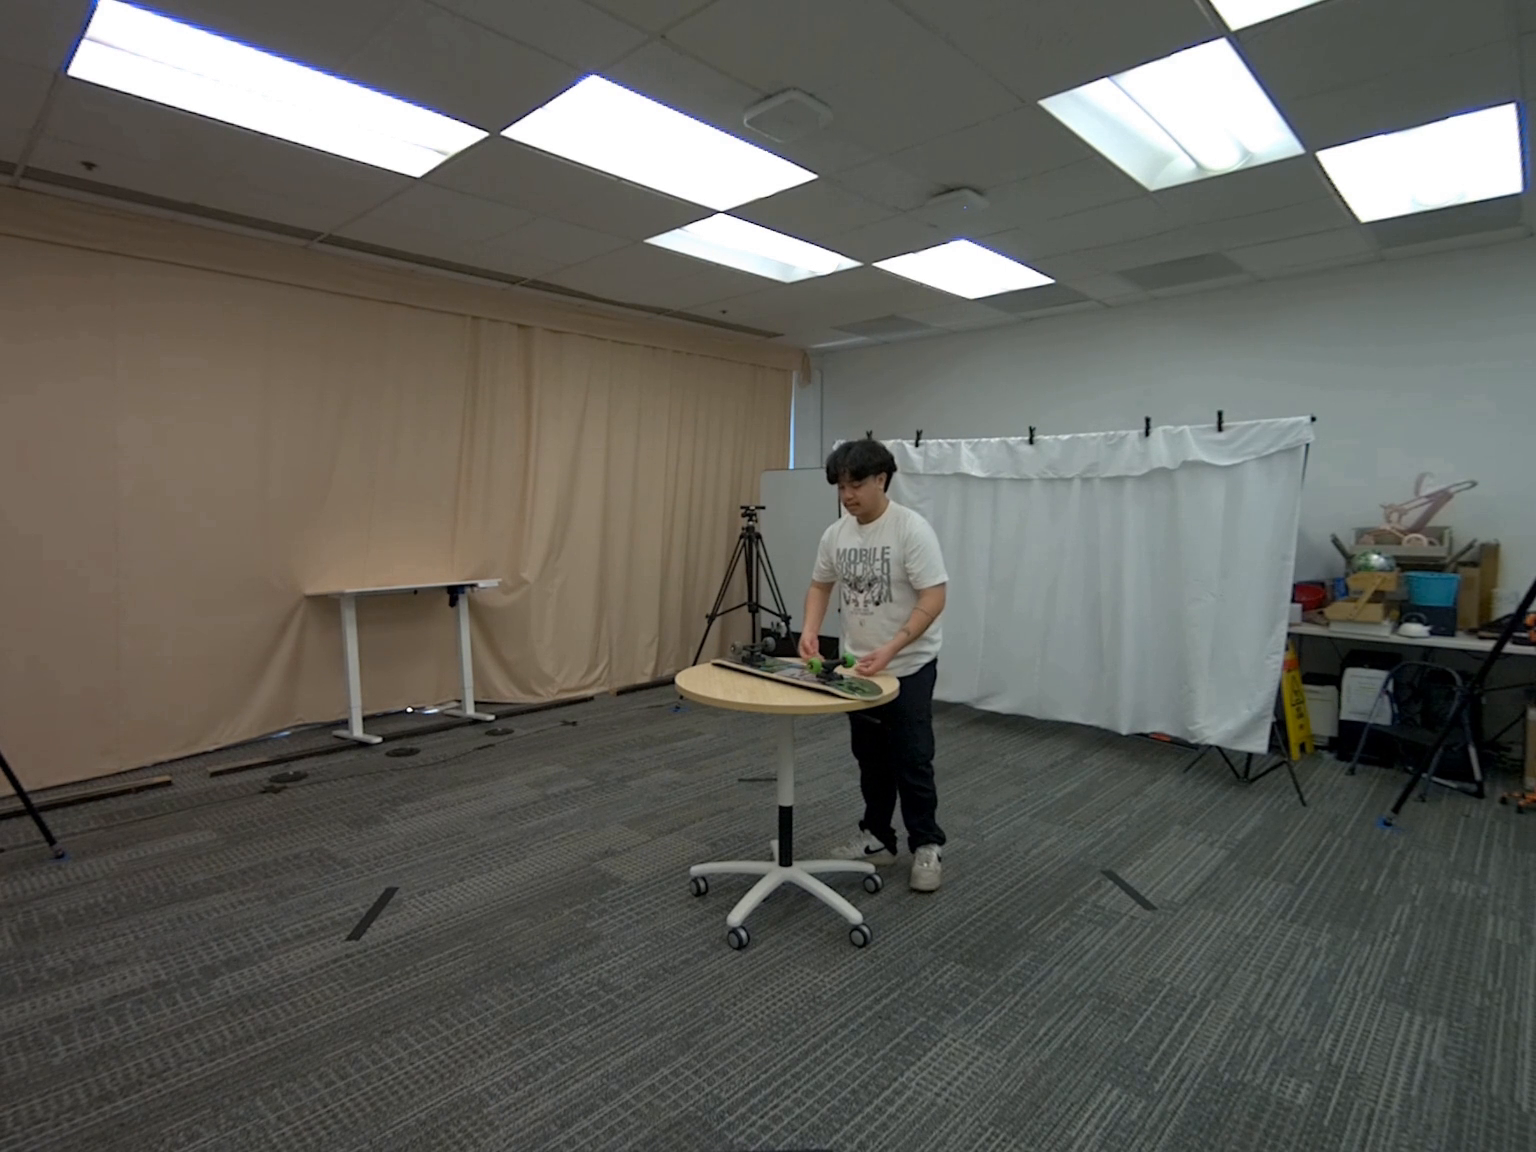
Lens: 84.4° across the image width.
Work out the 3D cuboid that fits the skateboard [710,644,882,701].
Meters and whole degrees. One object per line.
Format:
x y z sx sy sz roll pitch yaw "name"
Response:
0.080 0.299 2.913 0.188 0.110 0.811 -2 6 -37 "skateboard"
